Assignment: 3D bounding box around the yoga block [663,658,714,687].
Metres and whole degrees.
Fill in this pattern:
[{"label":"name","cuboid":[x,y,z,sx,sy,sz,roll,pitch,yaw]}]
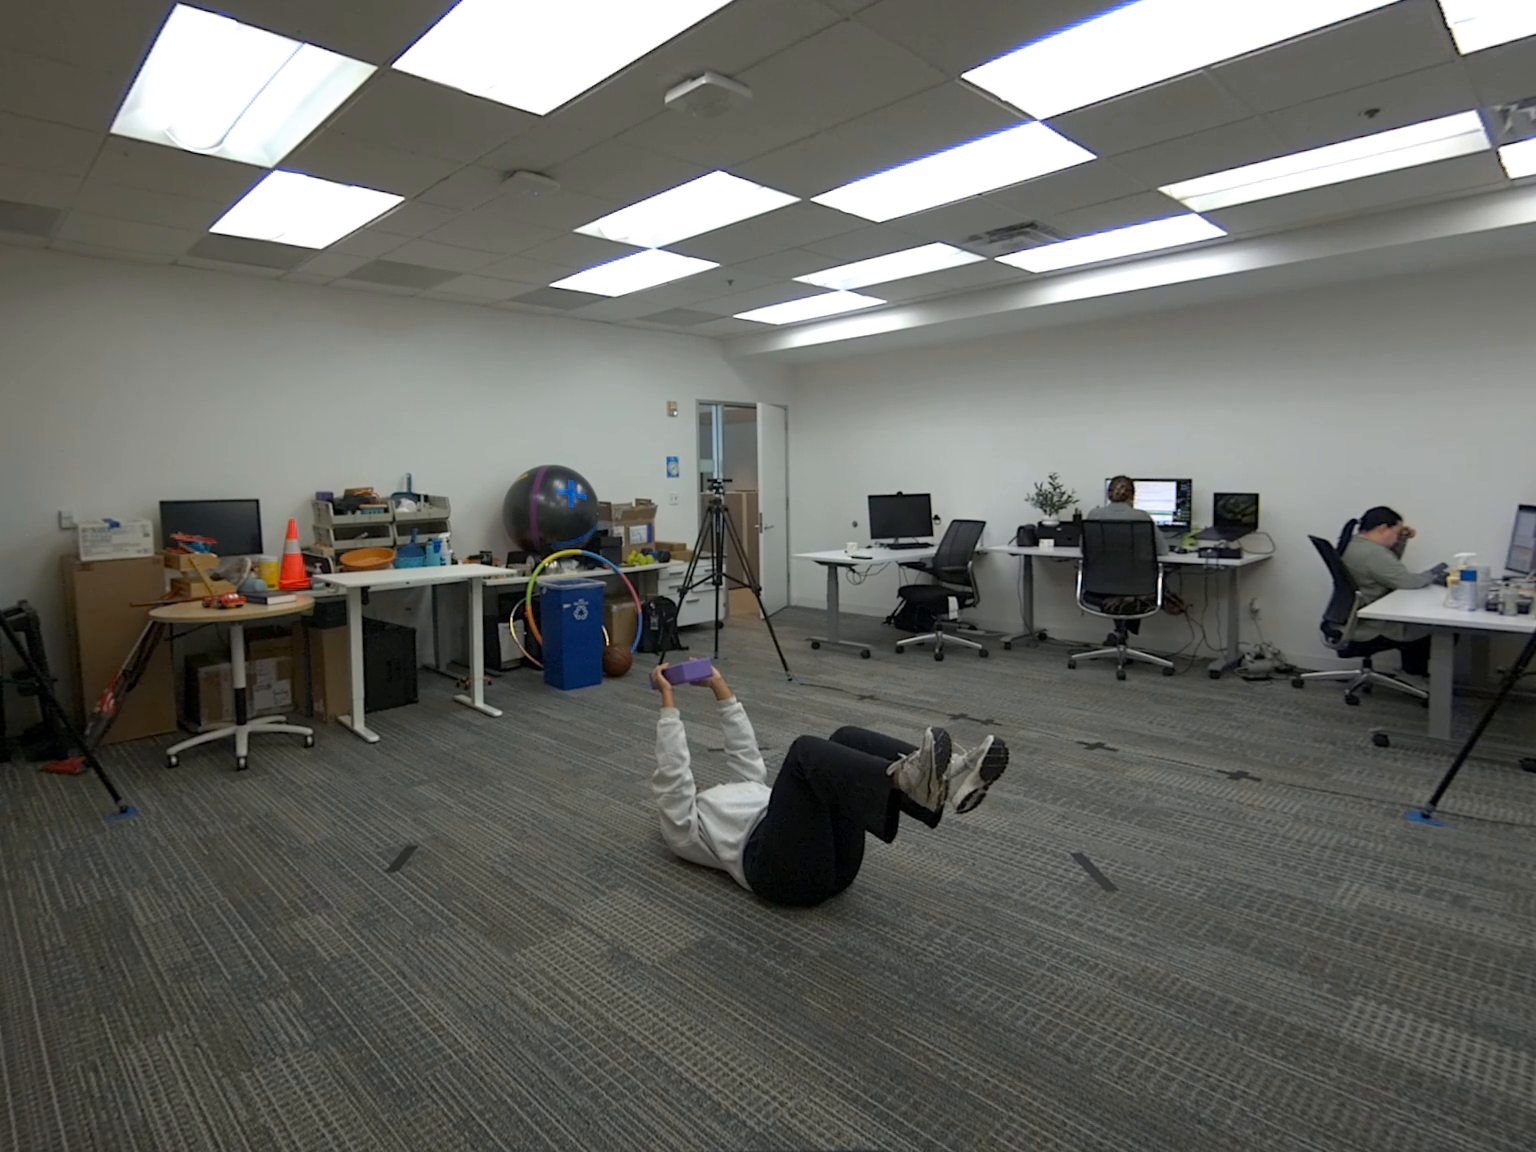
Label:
[{"label":"yoga block","cuboid":[-0.342,0.384,3.338,0.145,0.077,0.233,-5,-10,-42]}]
